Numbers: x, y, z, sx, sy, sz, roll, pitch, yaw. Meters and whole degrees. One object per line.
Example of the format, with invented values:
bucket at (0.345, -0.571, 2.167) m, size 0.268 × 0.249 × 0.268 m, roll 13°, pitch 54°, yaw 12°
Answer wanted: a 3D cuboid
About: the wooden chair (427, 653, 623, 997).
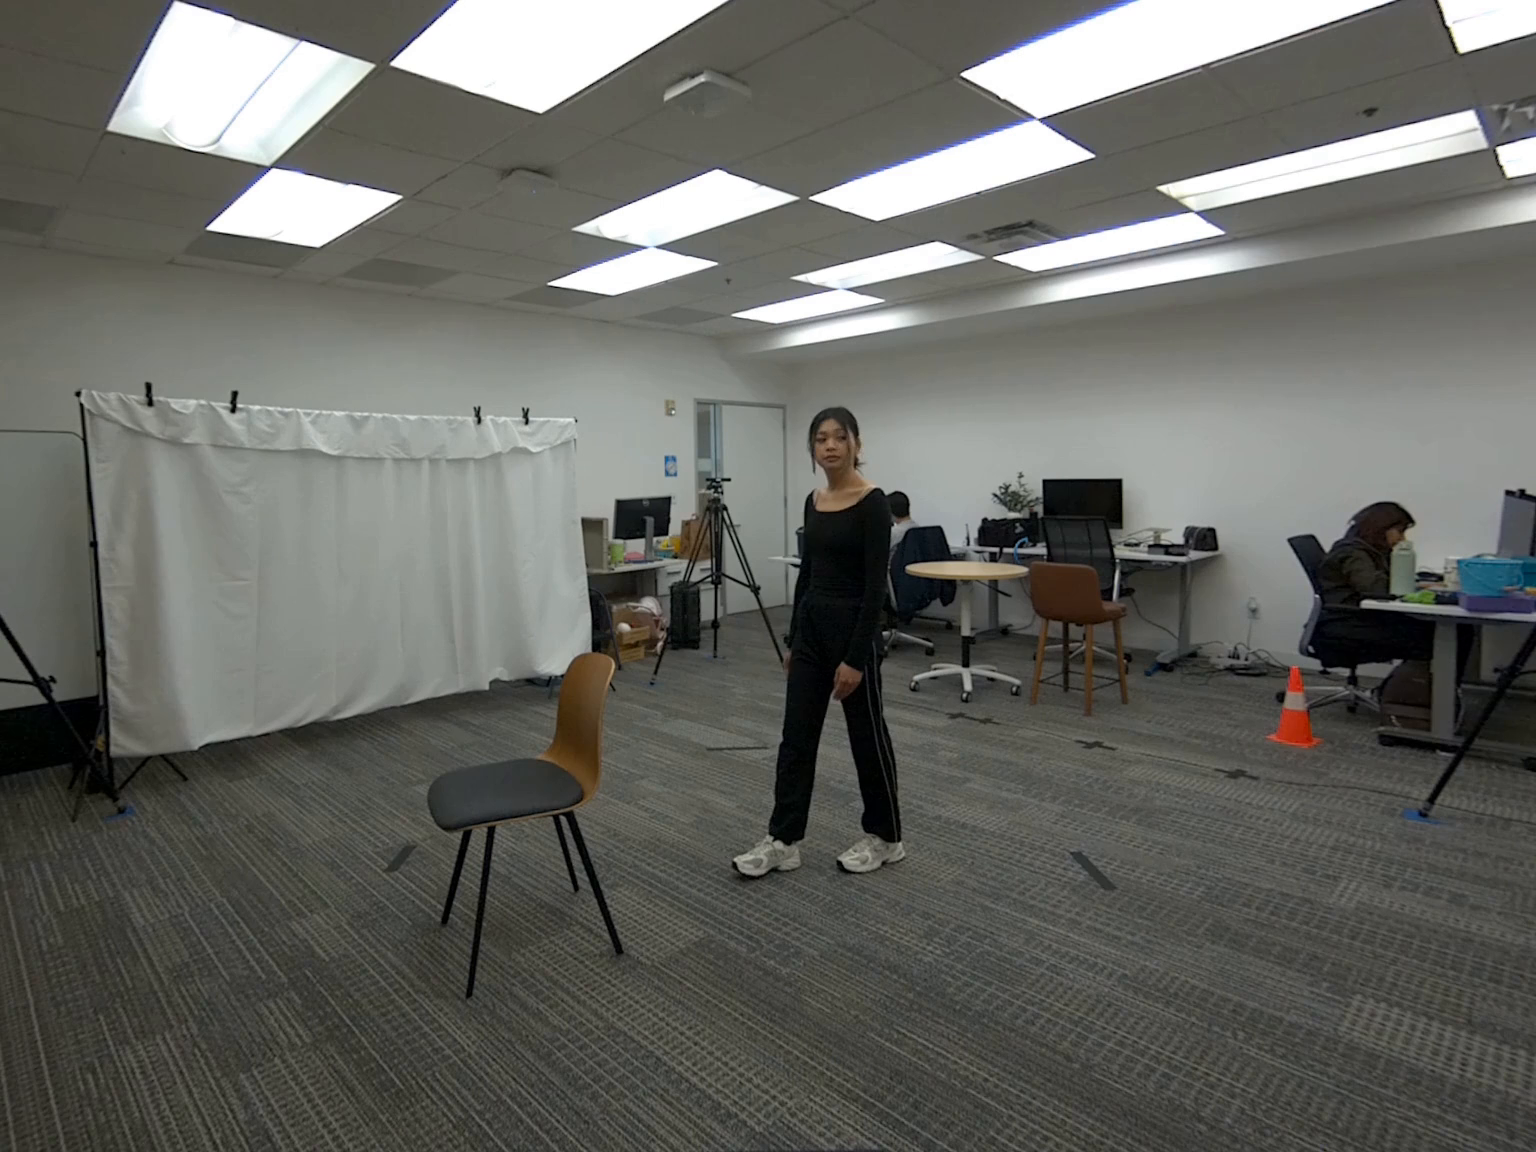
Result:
wooden chair at (-0.742, 0.687, 2.584) m, size 0.510 × 0.875 × 0.491 m, roll 1°, pitch 3°, yaw -28°
